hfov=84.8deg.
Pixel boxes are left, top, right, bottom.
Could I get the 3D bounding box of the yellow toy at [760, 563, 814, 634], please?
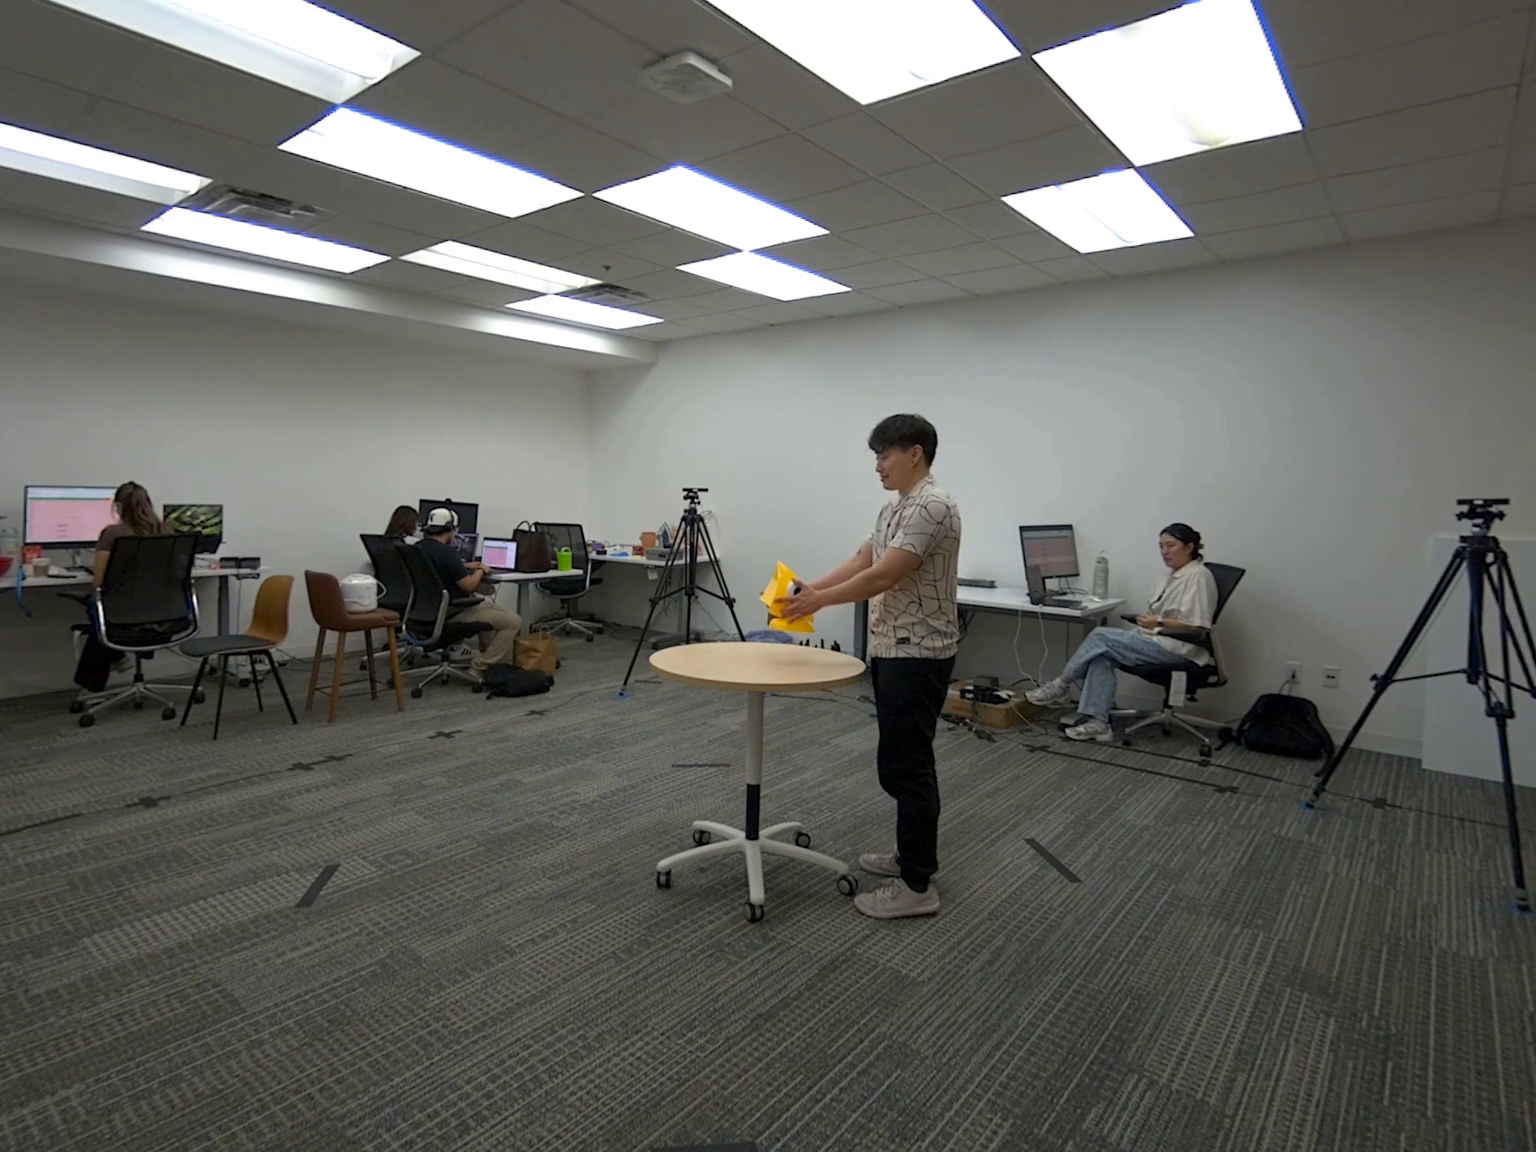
[{"bbox_3d":[0.074,0.066,3.027,0.191,0.230,0.207,7,1,-11],"label":"yellow toy"}]
